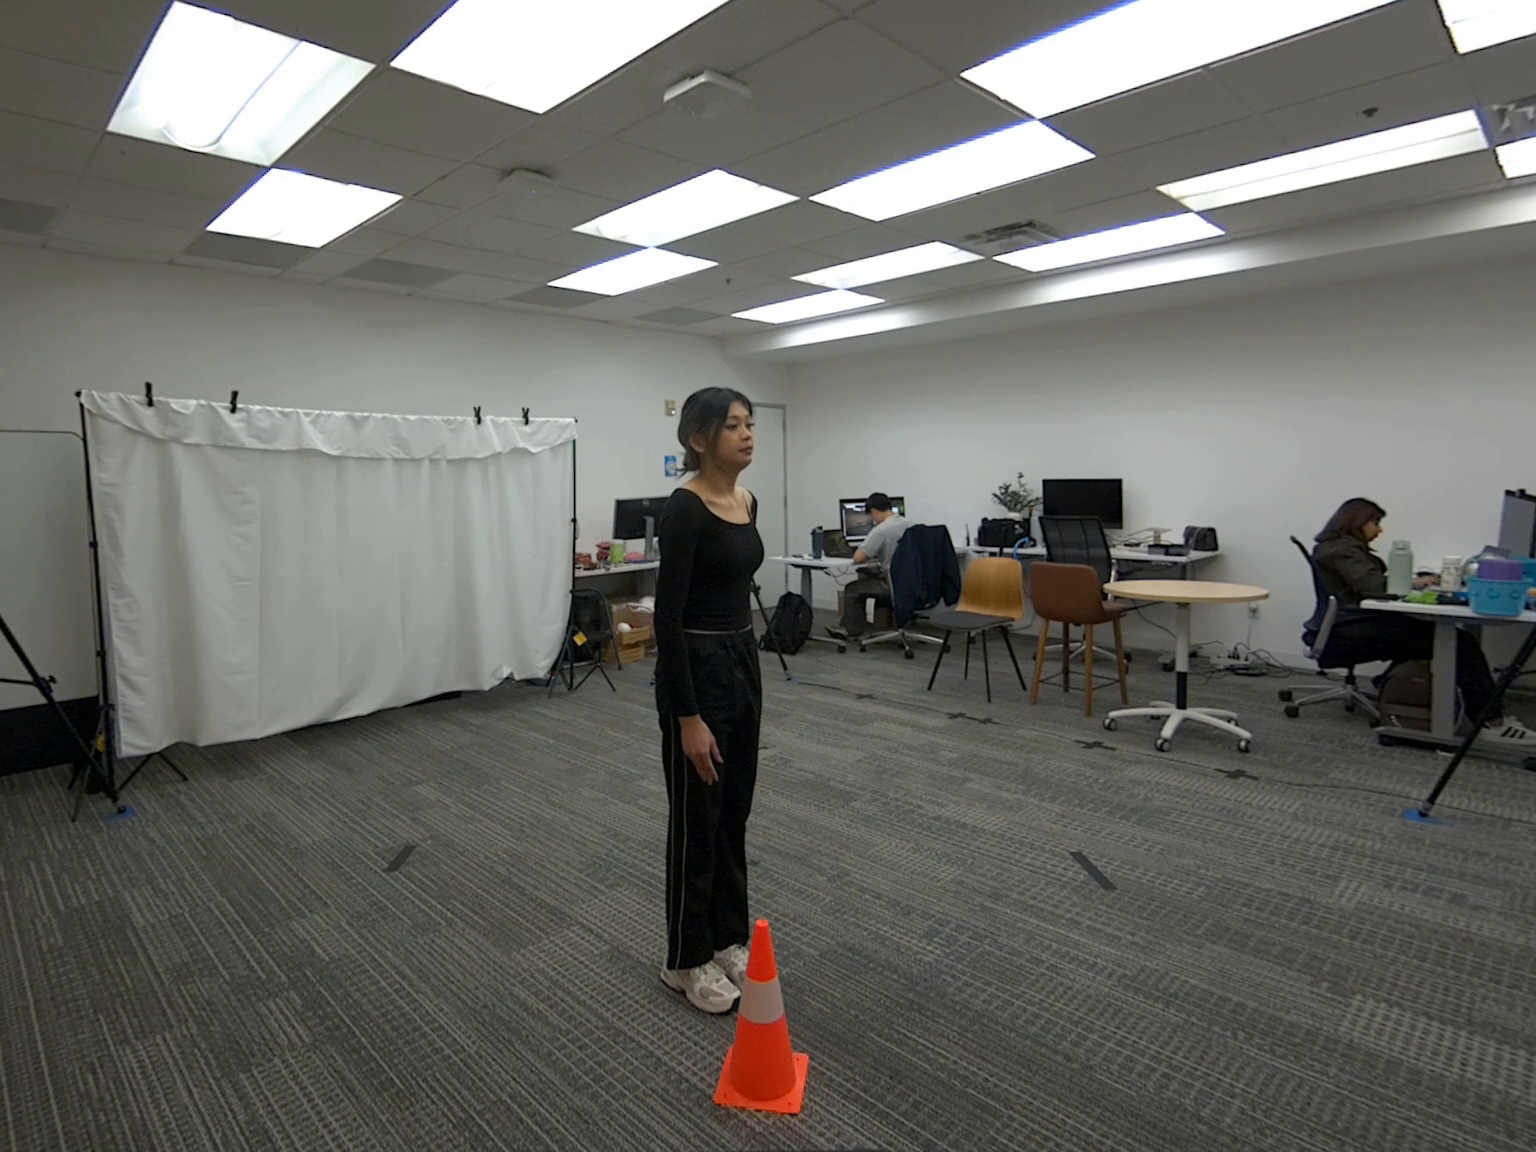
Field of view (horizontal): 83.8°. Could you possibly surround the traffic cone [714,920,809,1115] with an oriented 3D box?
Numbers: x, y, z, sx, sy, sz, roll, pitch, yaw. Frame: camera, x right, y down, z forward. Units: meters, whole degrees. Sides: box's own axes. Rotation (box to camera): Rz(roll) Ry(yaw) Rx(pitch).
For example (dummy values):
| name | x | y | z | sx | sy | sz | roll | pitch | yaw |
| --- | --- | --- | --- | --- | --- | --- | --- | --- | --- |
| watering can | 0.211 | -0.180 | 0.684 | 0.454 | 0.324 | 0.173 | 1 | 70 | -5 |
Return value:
| name | x | y | z | sx | sy | sz | roll | pitch | yaw |
| --- | --- | --- | --- | --- | --- | --- | --- | --- | --- |
| traffic cone | -0.009 | 0.991 | 1.976 | 0.205 | 0.382 | 0.204 | -3 | 5 | 7 |
